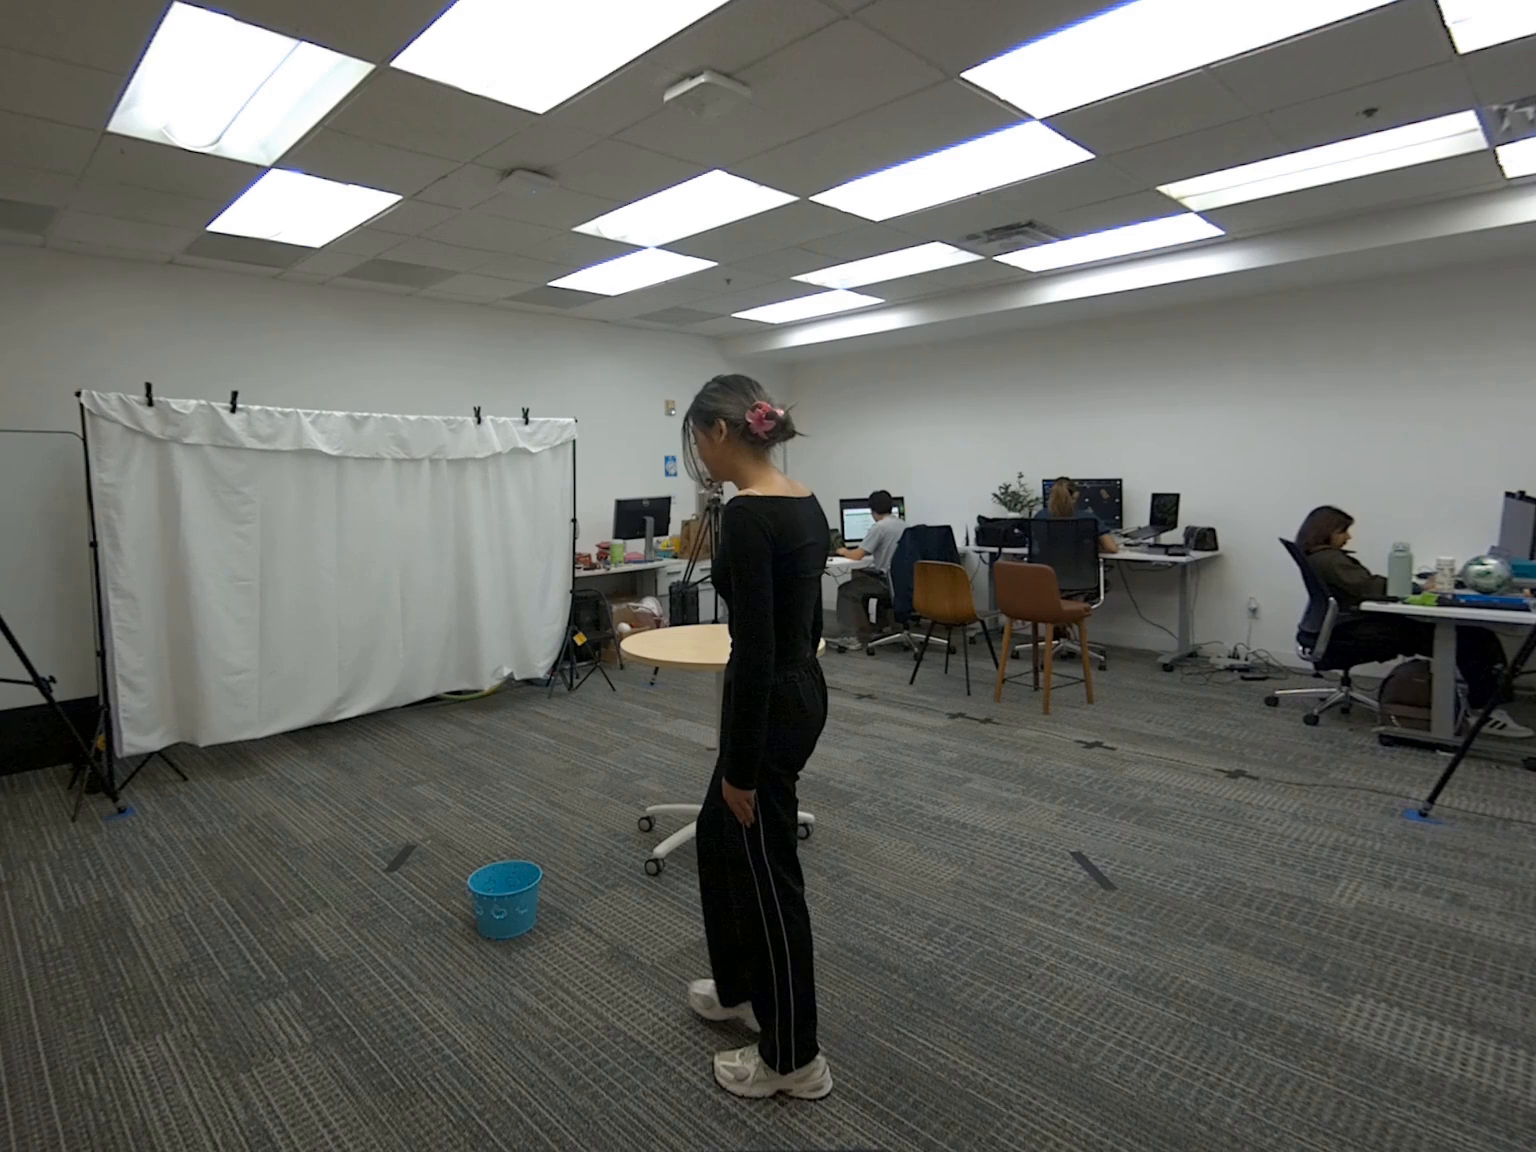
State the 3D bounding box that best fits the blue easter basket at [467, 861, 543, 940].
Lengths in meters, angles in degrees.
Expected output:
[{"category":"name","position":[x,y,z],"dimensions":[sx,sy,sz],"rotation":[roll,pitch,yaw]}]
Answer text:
[{"category":"blue easter basket","position":[-0.824,1.025,2.716],"dimensions":[0.243,0.155,0.245],"rotation":[0,5,-2]}]
